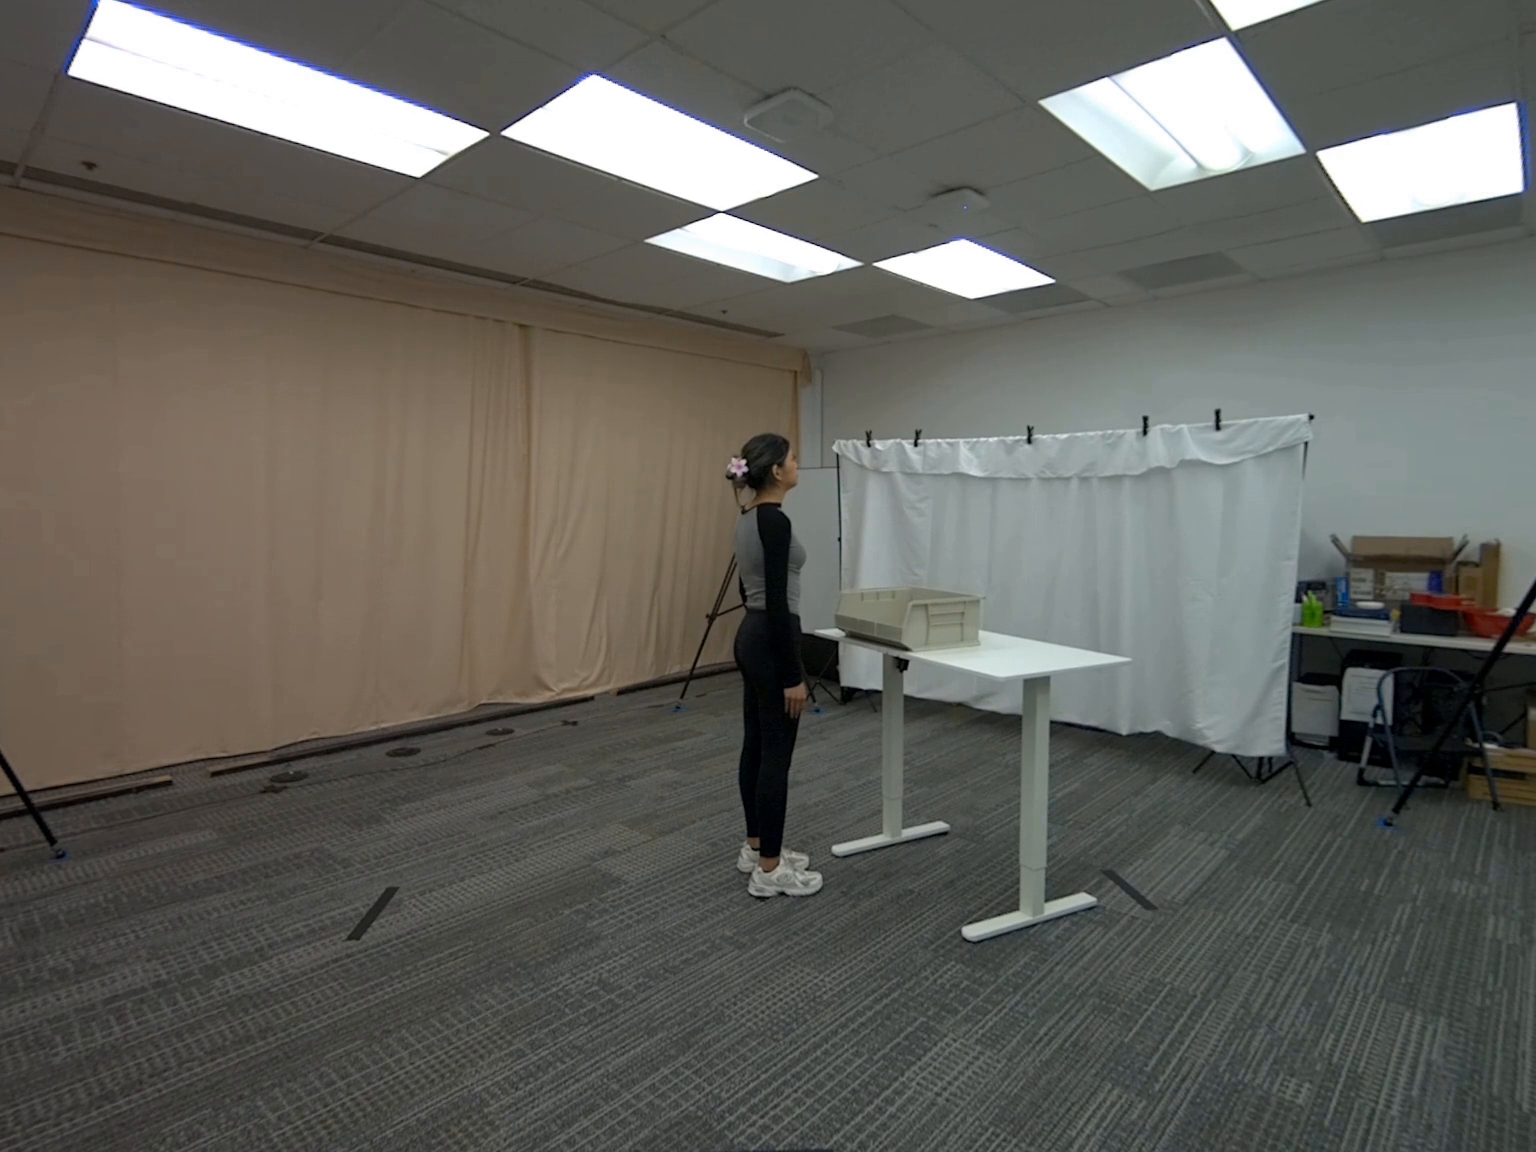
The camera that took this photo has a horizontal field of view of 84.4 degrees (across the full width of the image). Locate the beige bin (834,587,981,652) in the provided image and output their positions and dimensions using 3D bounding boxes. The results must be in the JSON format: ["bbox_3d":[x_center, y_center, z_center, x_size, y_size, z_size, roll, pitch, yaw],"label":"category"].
[{"bbox_3d":[0.517,0.155,3.153,0.368,0.188,0.434,-1,5,-28],"label":"beige bin"}]
